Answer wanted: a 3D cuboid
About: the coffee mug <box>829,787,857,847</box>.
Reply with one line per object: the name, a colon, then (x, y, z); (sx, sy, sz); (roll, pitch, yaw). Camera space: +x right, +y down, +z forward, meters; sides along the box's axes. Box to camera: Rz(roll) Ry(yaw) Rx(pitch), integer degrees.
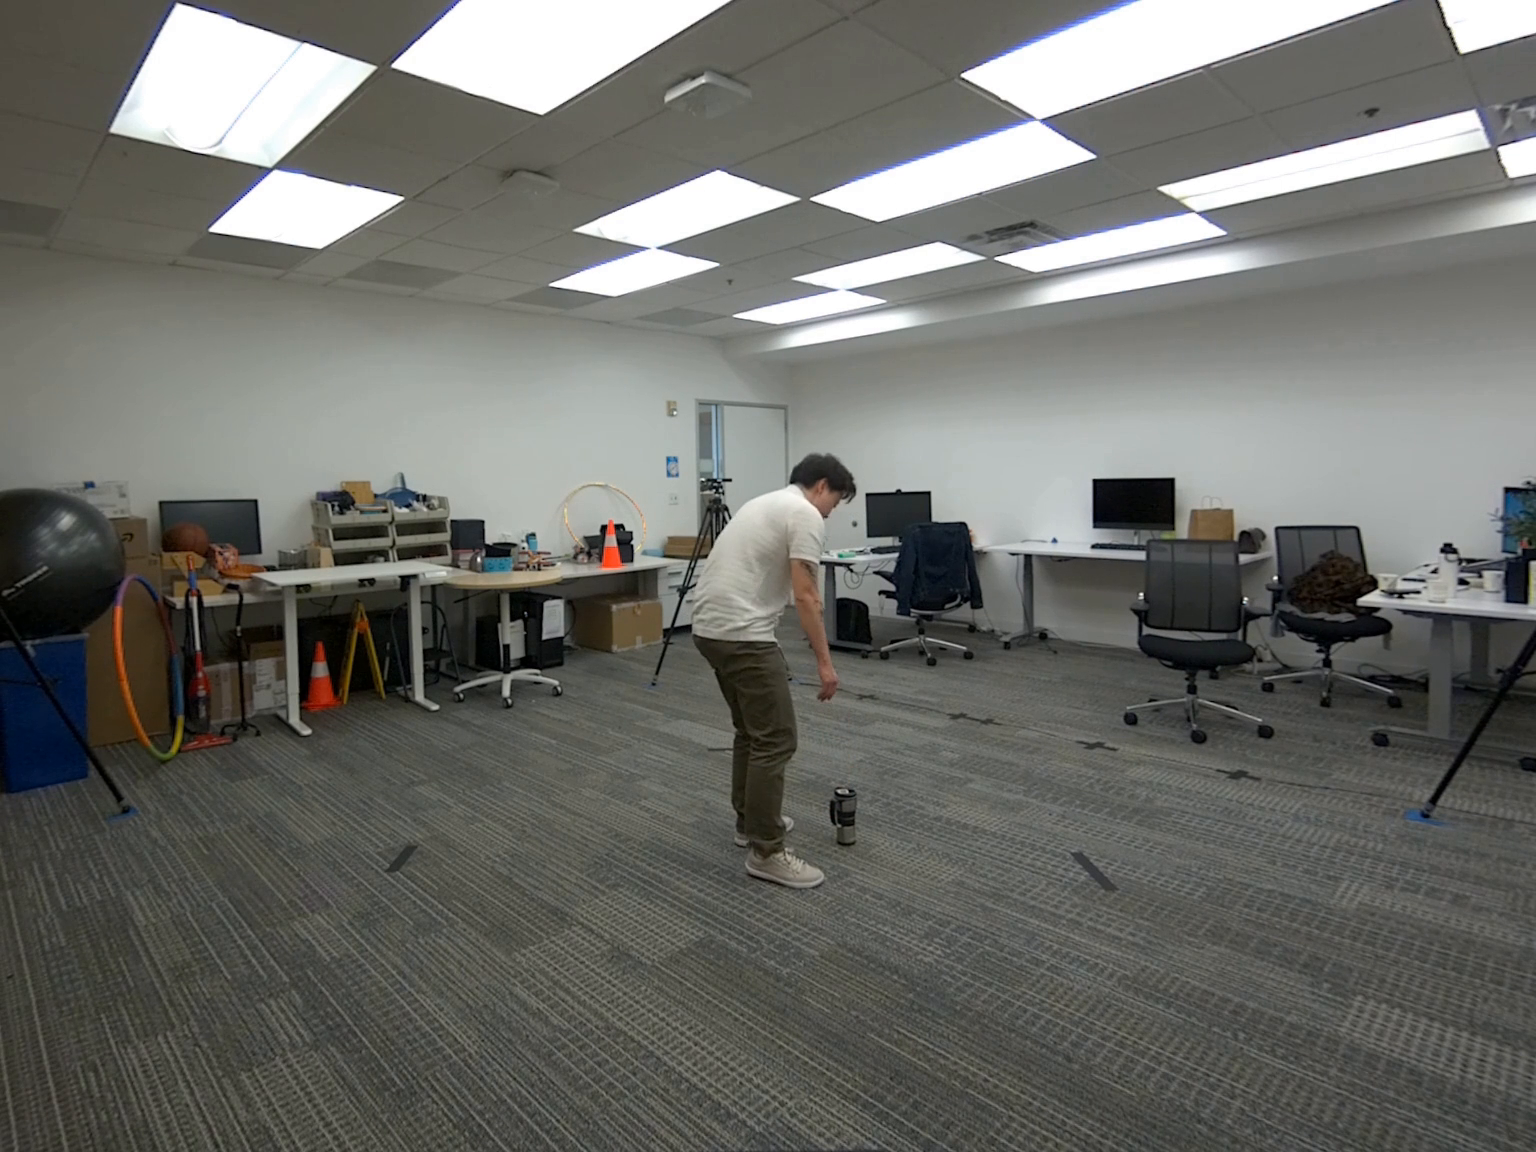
coffee mug: (0.275, 0.916, 3.259); (0.120, 0.202, 0.090); (1, 5, -20)
